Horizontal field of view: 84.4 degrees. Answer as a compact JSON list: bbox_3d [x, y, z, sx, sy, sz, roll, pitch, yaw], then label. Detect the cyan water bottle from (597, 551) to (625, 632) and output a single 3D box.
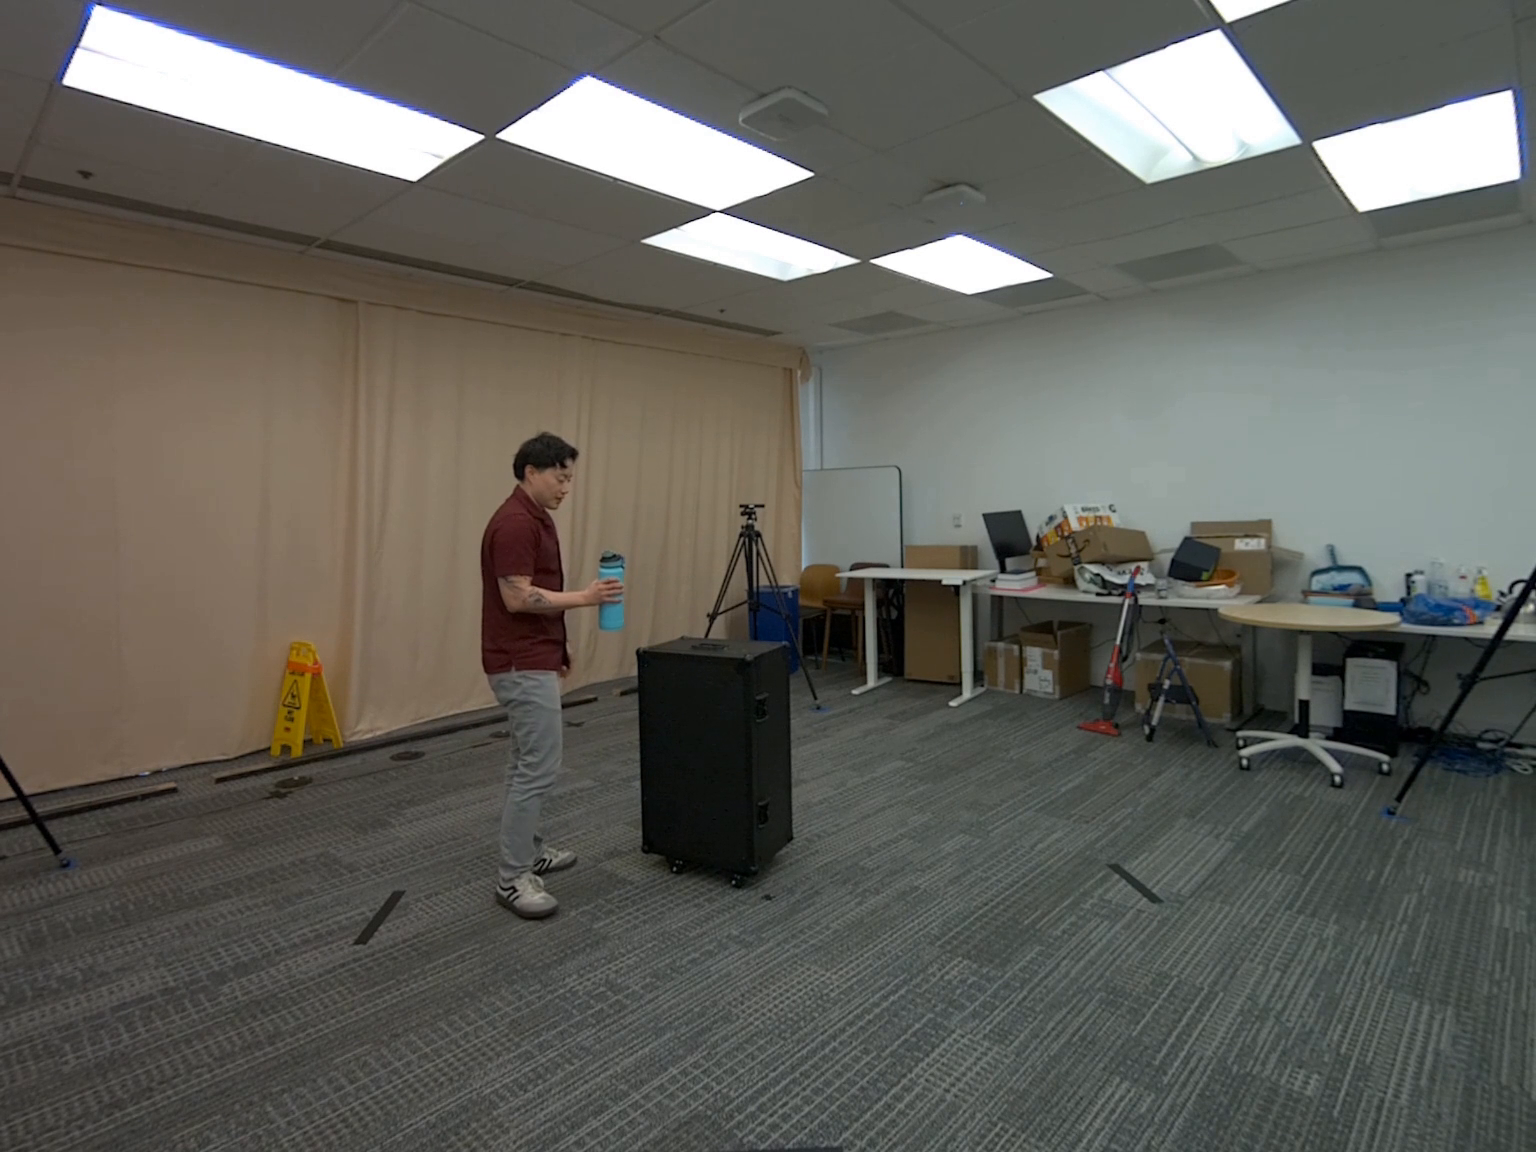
[{"bbox_3d":[-0.566,0.048,3.023,0.092,0.282,0.093,3,9,-2],"label":"cyan water bottle"}]
